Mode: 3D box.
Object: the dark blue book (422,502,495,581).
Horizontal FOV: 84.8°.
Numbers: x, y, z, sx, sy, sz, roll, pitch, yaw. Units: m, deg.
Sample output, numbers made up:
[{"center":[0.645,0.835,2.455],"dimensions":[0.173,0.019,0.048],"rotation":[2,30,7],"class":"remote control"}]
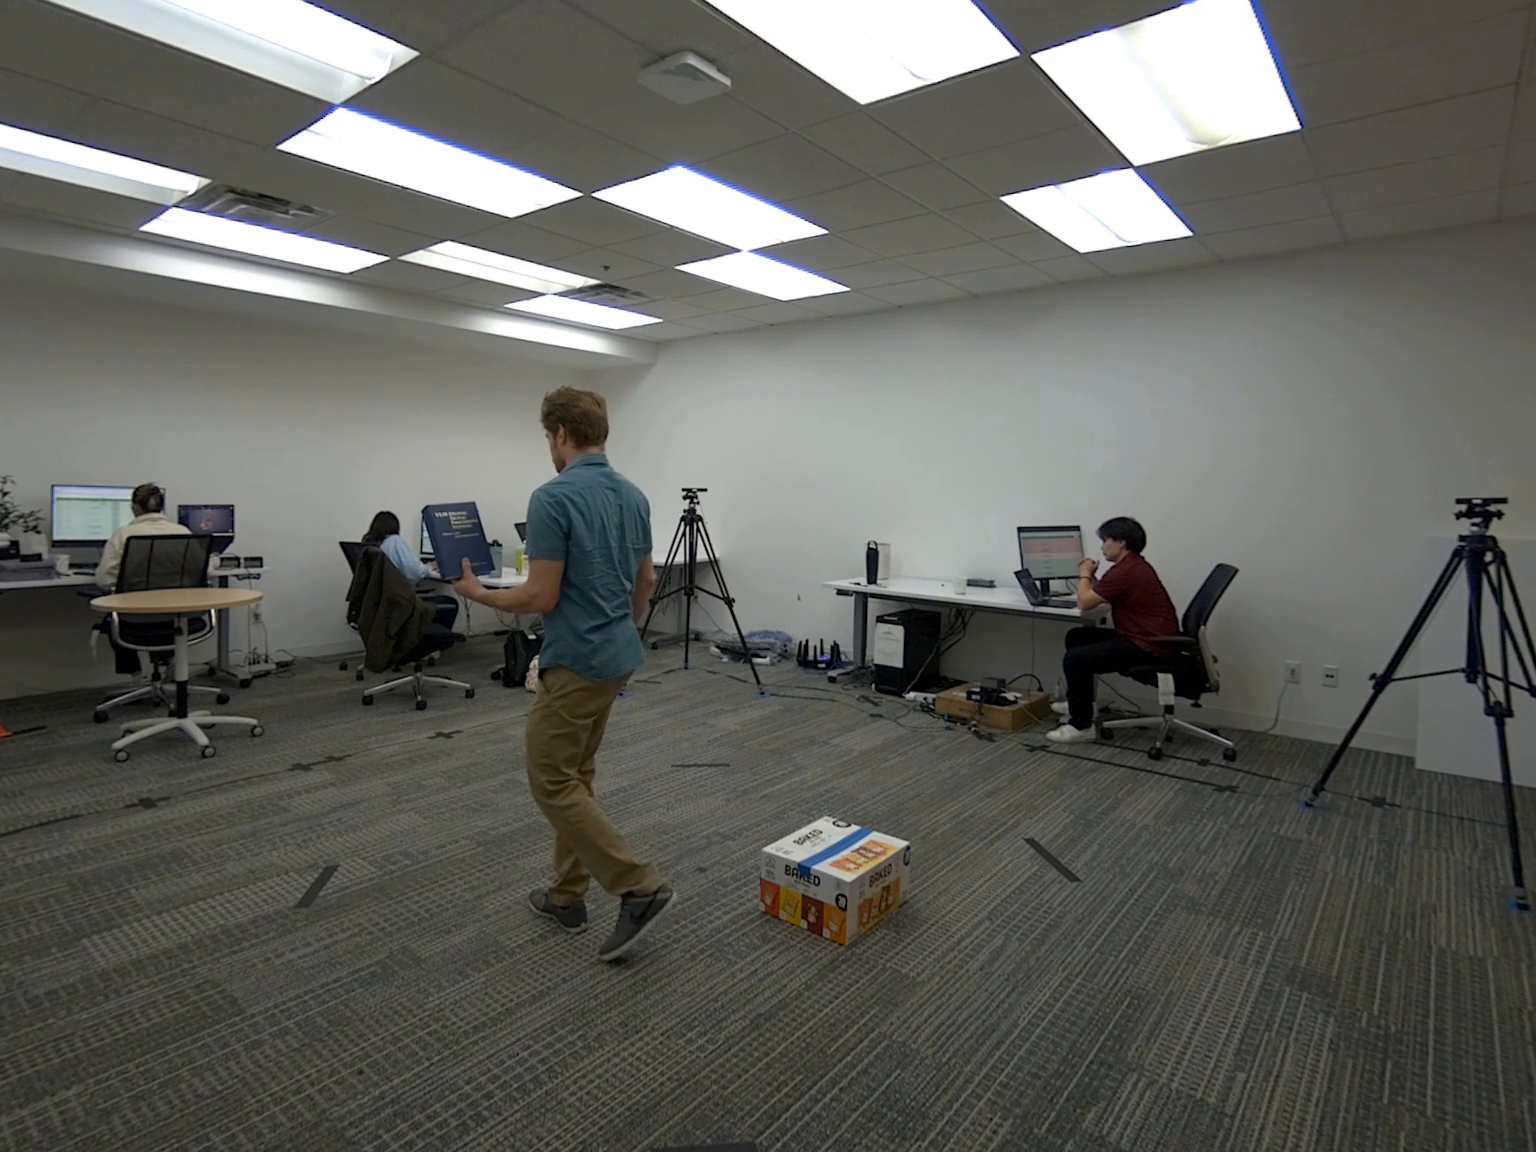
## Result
[{"center":[-0.982,-0.117,2.678],"dimensions":[0.159,0.250,0.045],"rotation":[-9,-20,-40],"class":"dark blue book"}]
